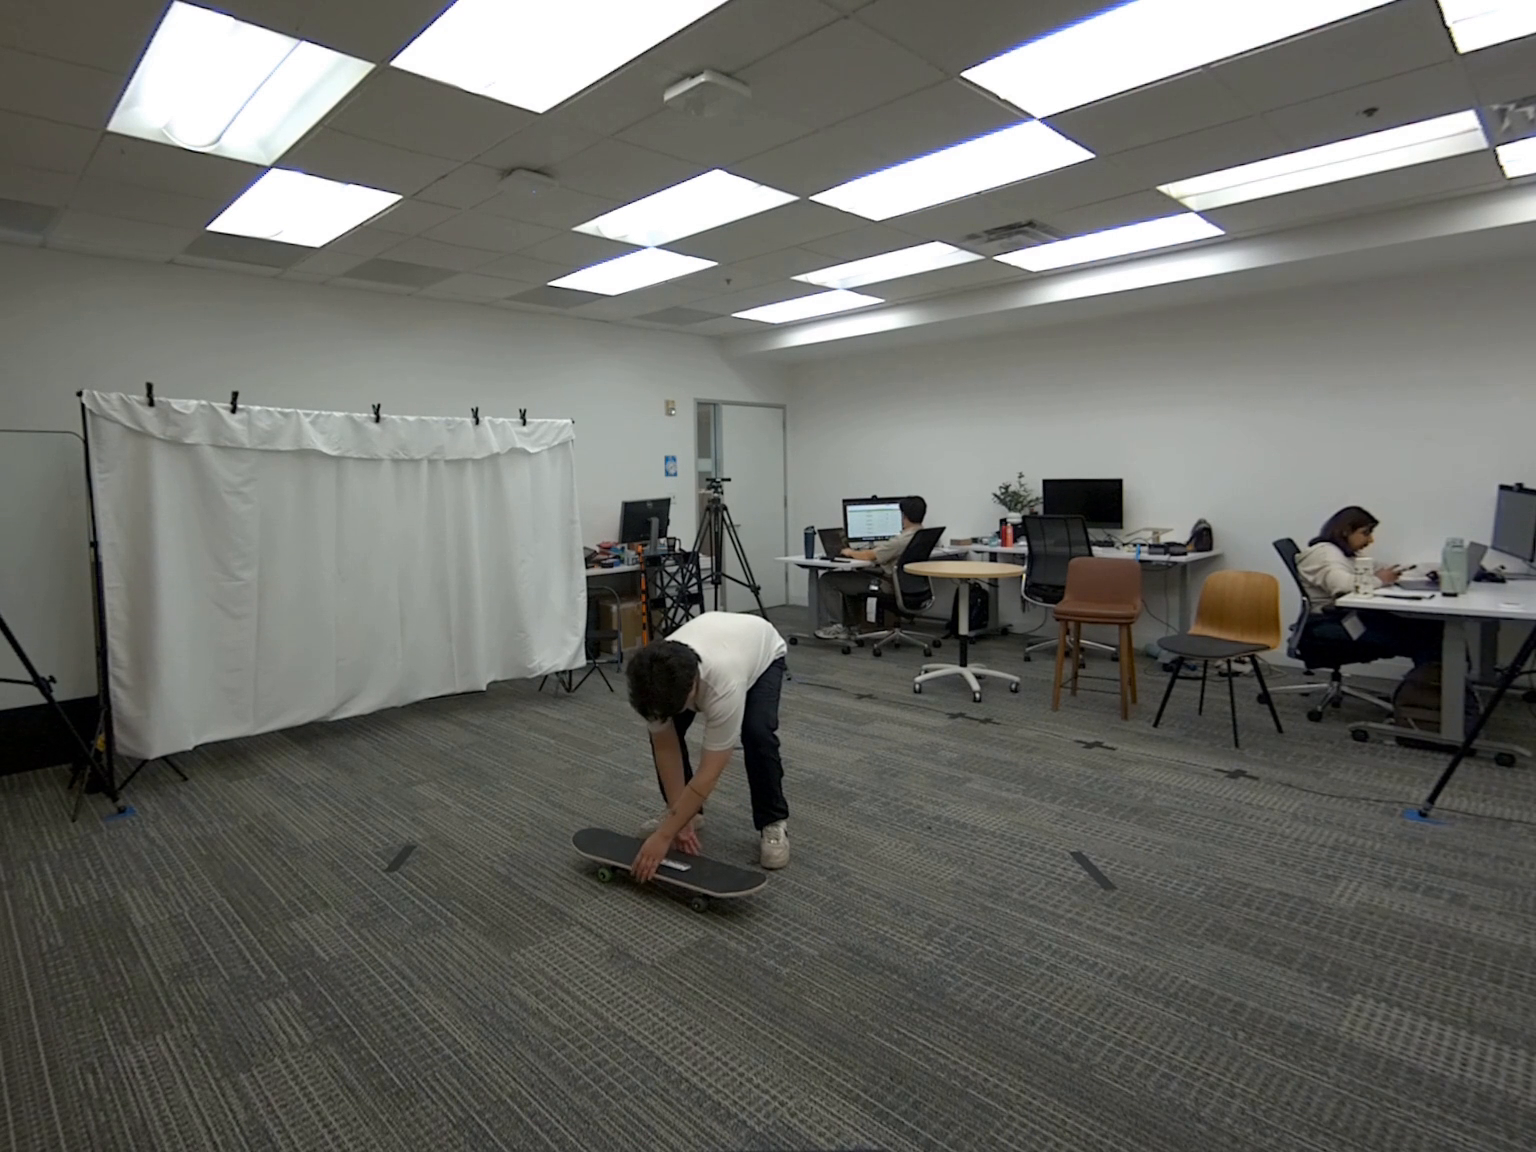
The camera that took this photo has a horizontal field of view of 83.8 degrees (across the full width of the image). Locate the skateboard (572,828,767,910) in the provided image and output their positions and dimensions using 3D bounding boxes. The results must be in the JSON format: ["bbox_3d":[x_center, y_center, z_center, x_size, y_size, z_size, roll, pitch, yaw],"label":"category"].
[{"bbox_3d":[-0.351,1.008,2.932,0.807,0.110,0.189,3,8,32],"label":"skateboard"}]
